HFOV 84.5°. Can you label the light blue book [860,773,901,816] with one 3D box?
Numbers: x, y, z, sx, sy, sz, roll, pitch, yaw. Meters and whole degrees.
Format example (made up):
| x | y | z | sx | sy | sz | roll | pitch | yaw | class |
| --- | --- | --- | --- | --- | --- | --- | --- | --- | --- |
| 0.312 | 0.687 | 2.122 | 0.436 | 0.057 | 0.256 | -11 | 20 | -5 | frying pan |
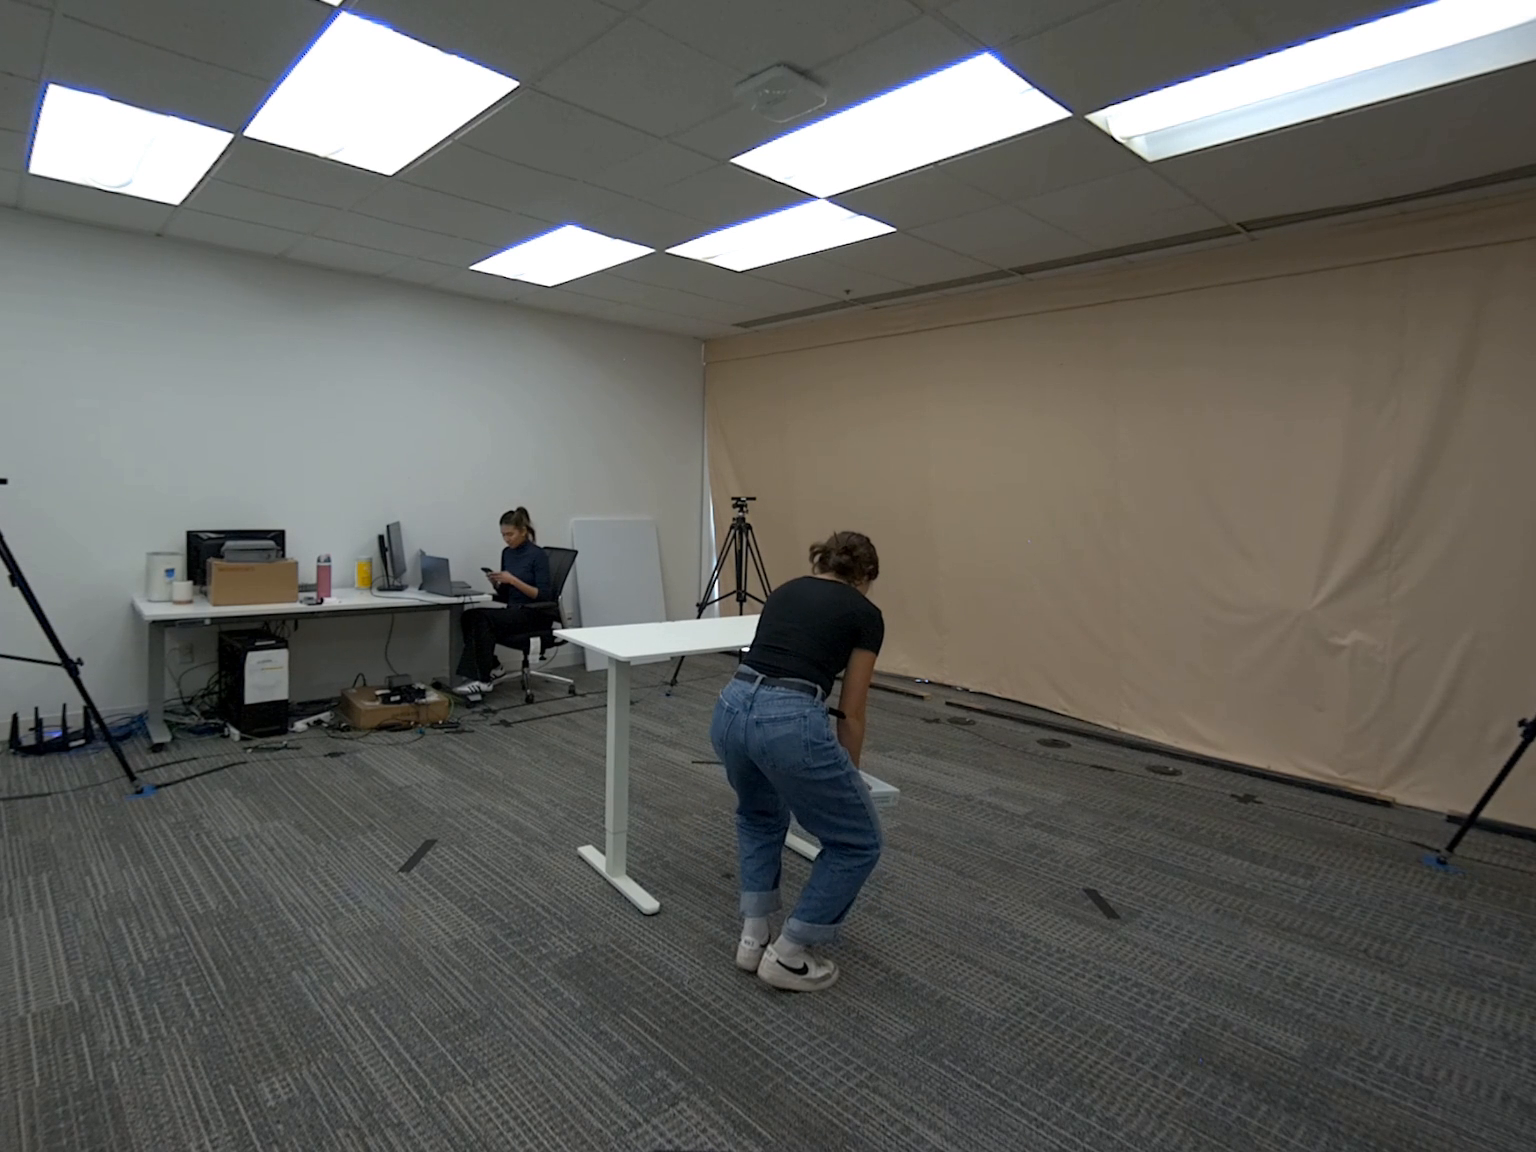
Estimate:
| x | y | z | sx | sy | sz | roll | pitch | yaw | class |
| --- | --- | --- | --- | --- | --- | --- | --- | --- | --- |
| 0.263 | 0.682 | 2.679 | 0.254 | 0.059 | 0.197 | 9 | 4 | -42 | light blue book |
